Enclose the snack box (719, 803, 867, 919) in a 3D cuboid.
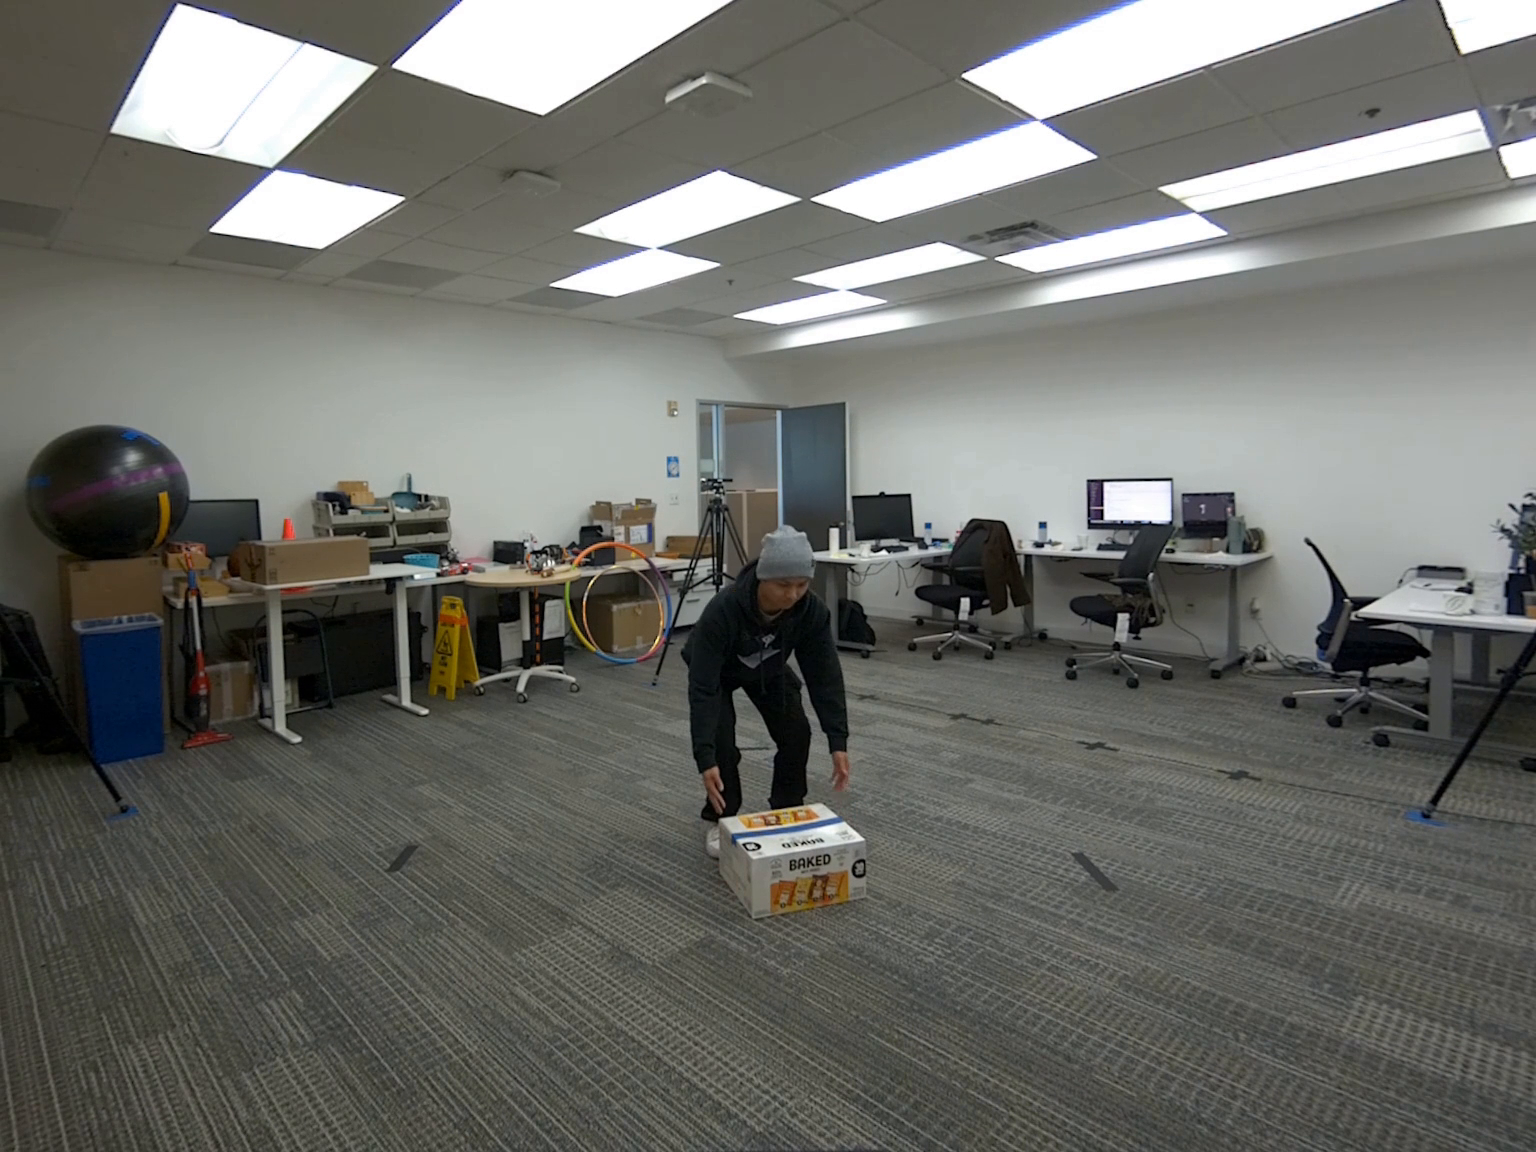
[{"bbox_3d":[0.080,0.964,2.917,0.398,0.205,0.348,-3,6,-20],"label":"snack box"}]
